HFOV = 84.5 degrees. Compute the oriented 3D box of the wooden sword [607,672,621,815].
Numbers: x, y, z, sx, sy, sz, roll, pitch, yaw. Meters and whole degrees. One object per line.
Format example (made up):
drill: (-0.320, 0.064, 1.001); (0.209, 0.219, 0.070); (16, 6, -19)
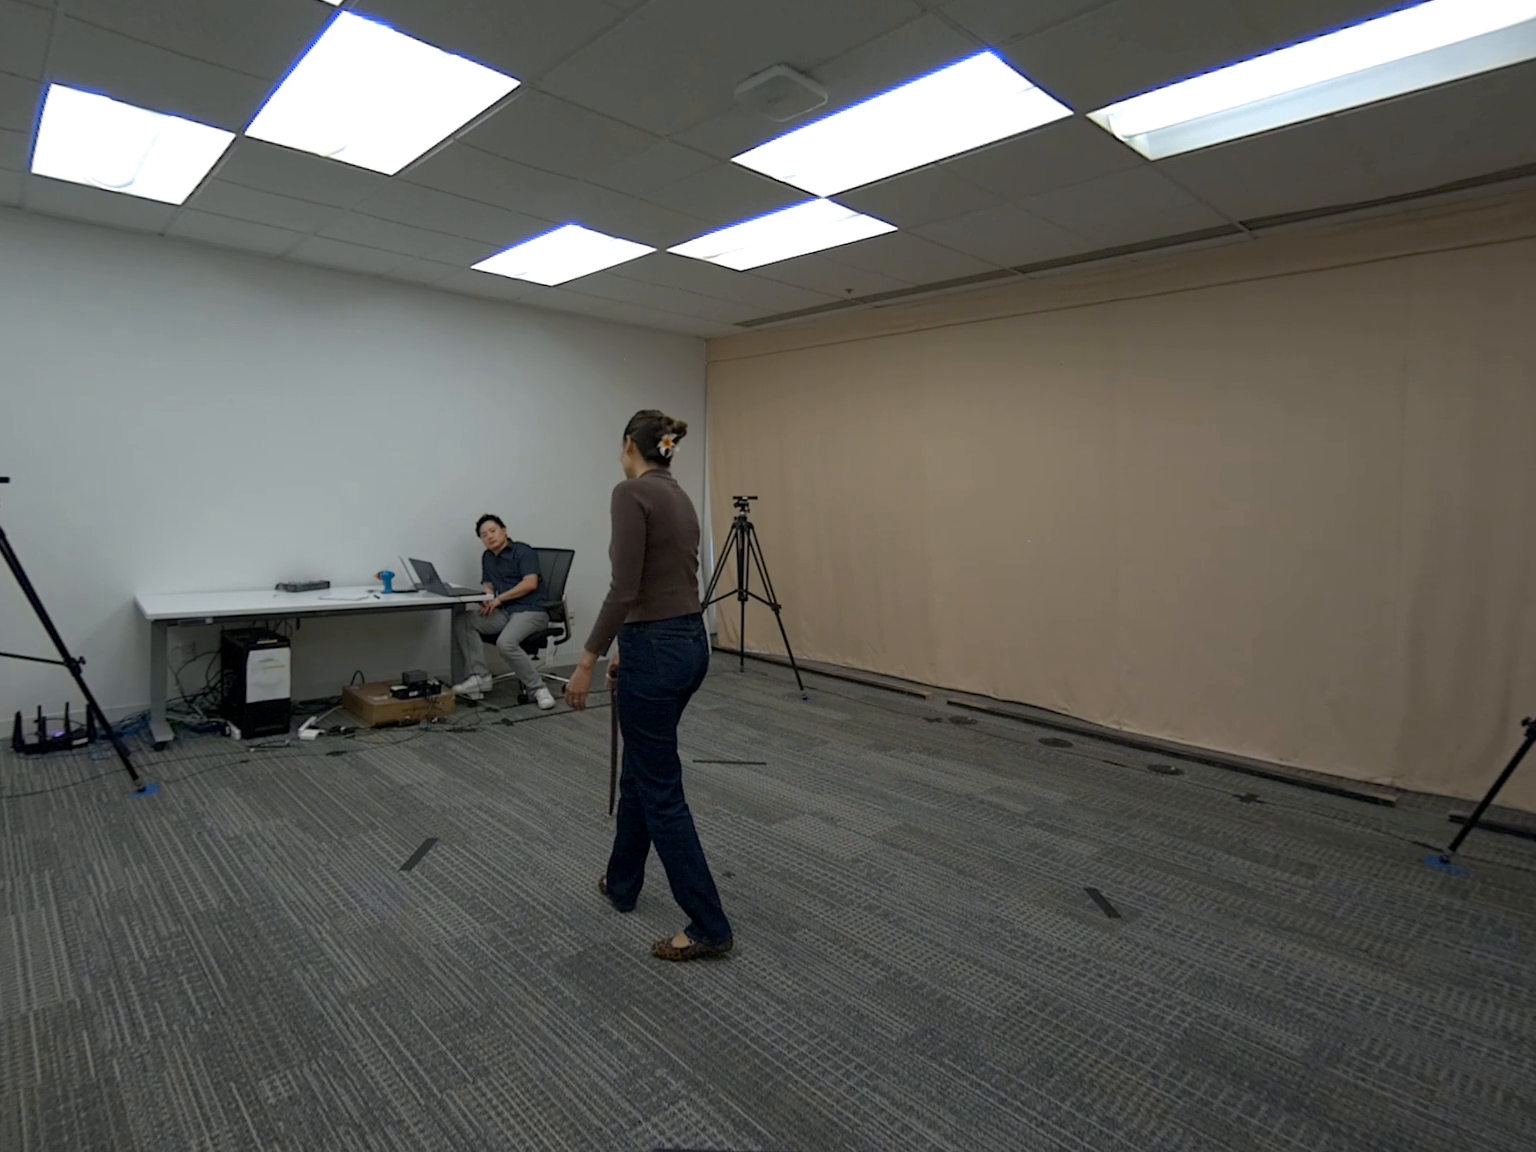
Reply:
wooden sword: (-0.604, 0.678, 3.331); (0.052, 1.008, 0.024); (35, 48, 21)
